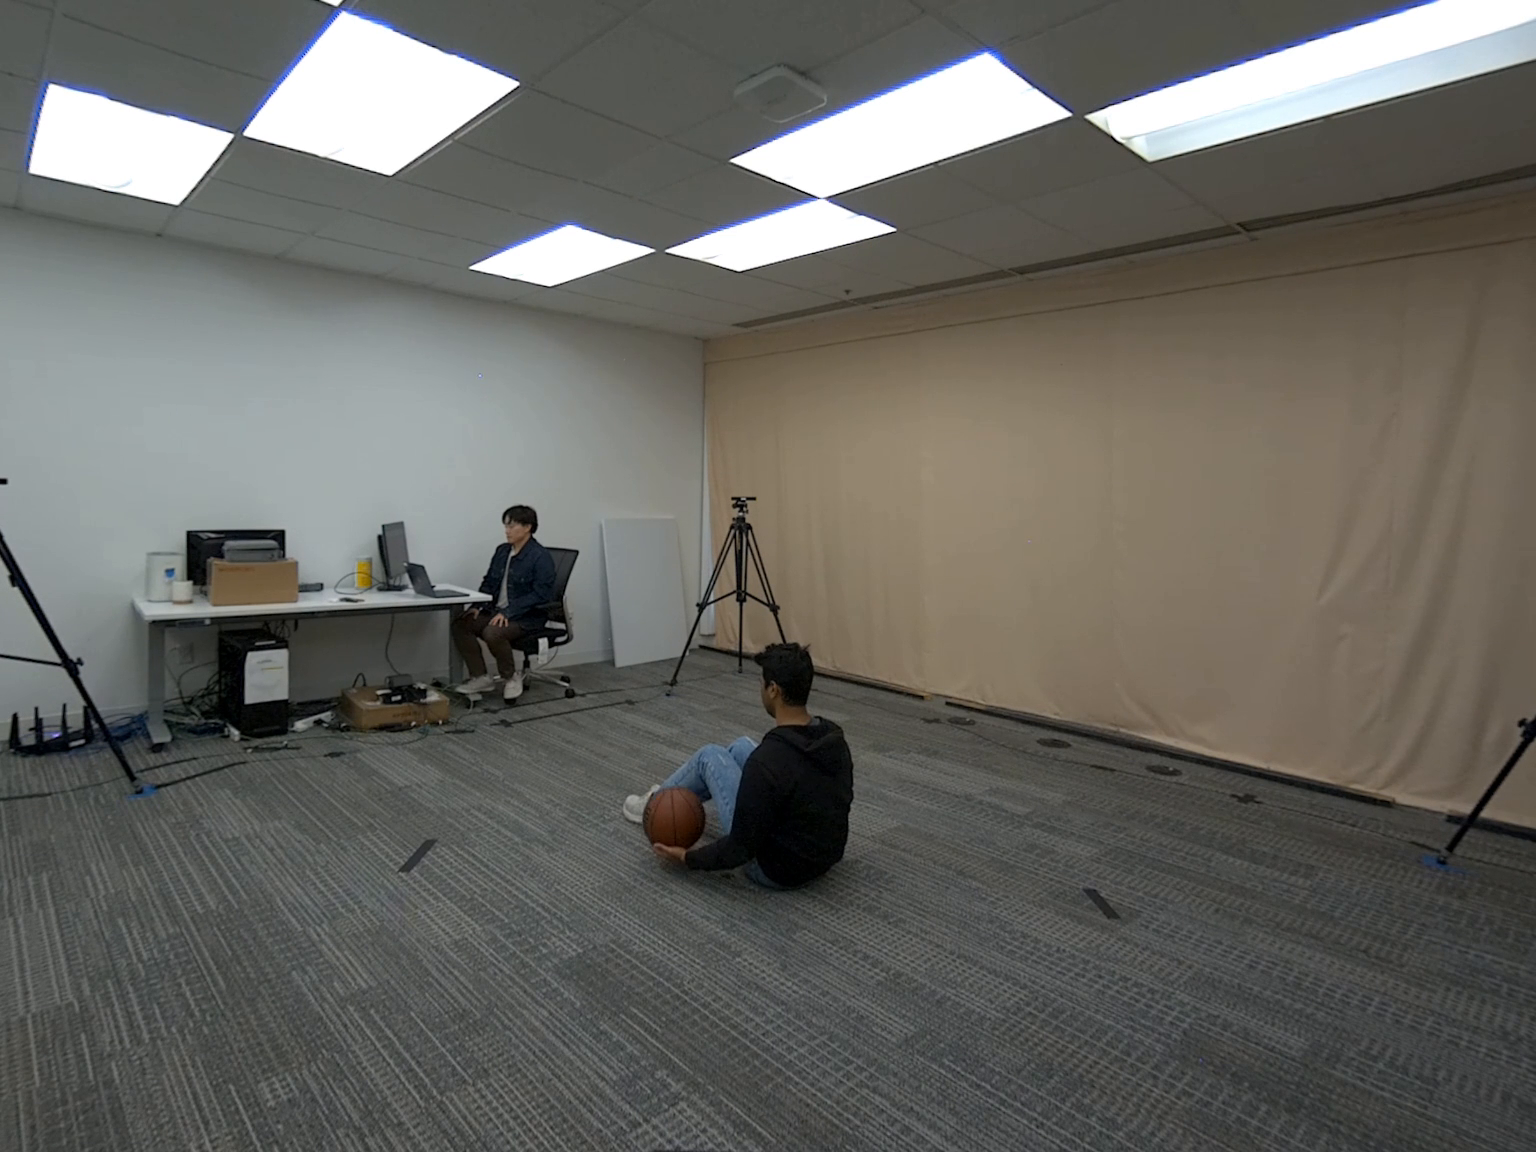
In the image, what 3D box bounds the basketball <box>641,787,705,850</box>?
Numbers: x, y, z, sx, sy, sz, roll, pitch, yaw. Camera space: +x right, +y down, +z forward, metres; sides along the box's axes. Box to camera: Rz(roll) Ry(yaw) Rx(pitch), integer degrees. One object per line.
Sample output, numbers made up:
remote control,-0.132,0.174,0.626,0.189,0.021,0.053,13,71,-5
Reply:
basketball,-0.363,0.887,3.179,0.236,0.235,0.237,1,4,-1
